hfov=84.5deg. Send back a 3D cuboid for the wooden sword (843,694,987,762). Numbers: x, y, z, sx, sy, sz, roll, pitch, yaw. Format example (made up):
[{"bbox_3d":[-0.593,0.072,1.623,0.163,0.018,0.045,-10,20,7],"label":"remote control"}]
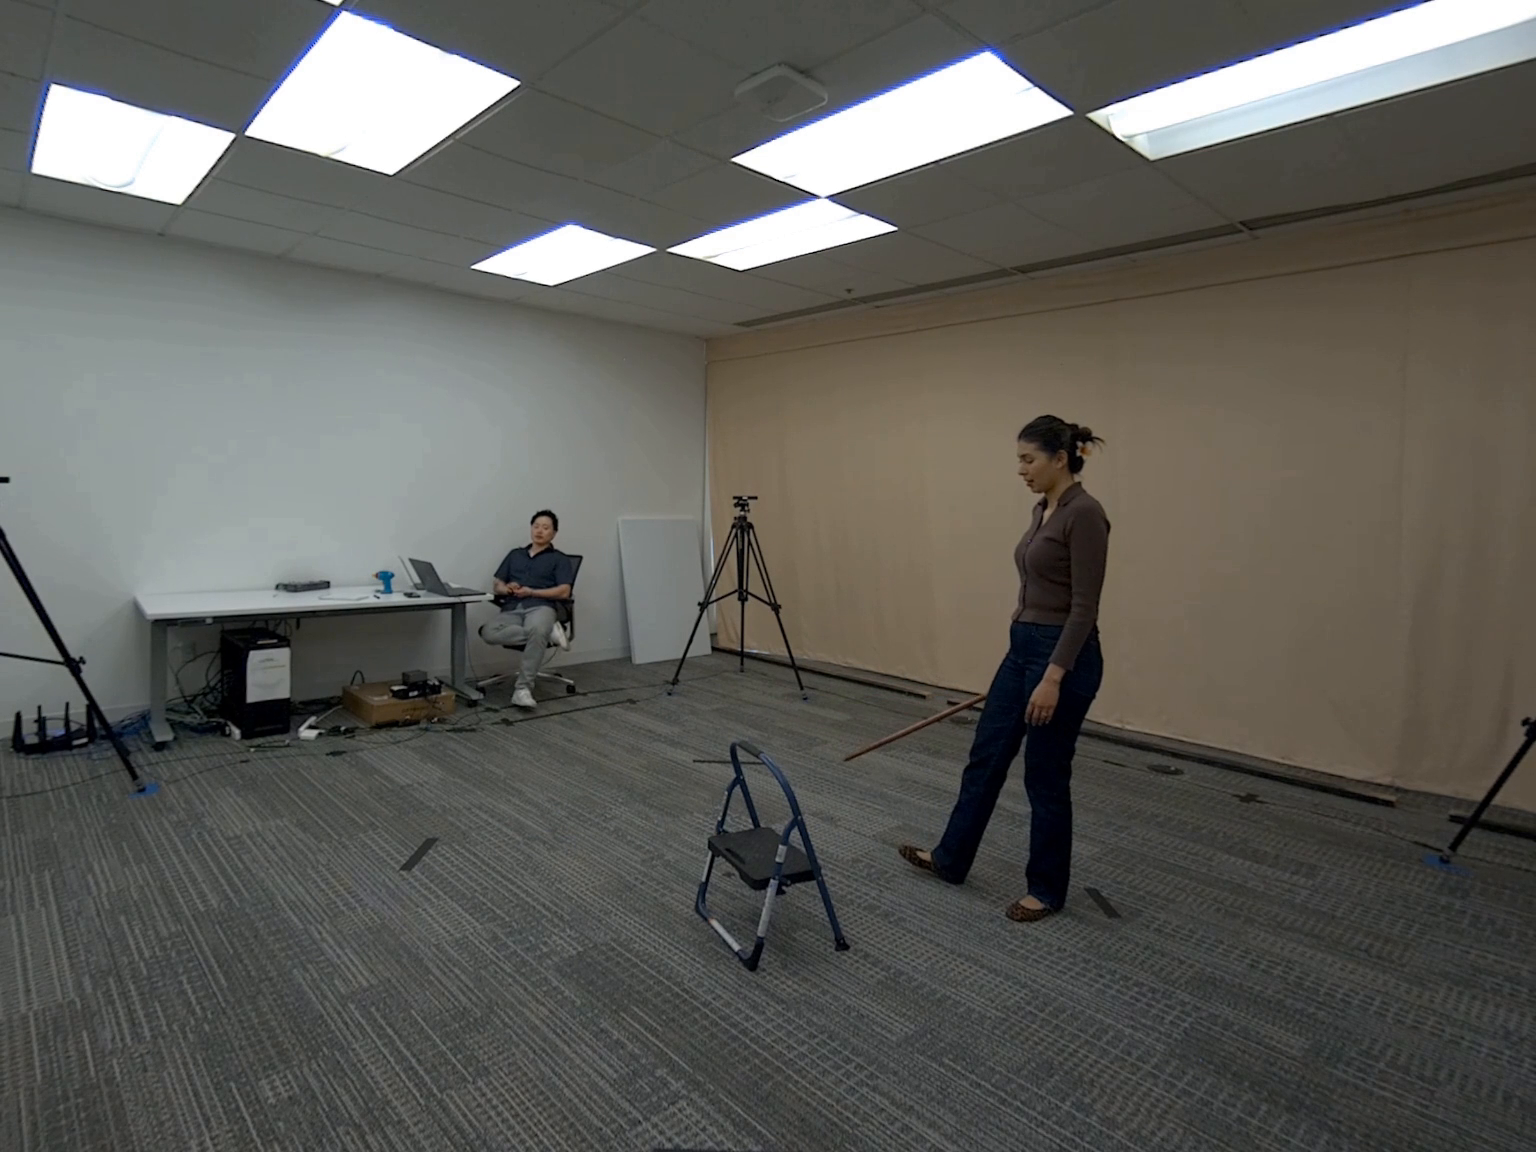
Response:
[{"bbox_3d":[0.747,0.481,3.156,1.023,0.025,0.050,-24,-33,-3],"label":"wooden sword"}]
